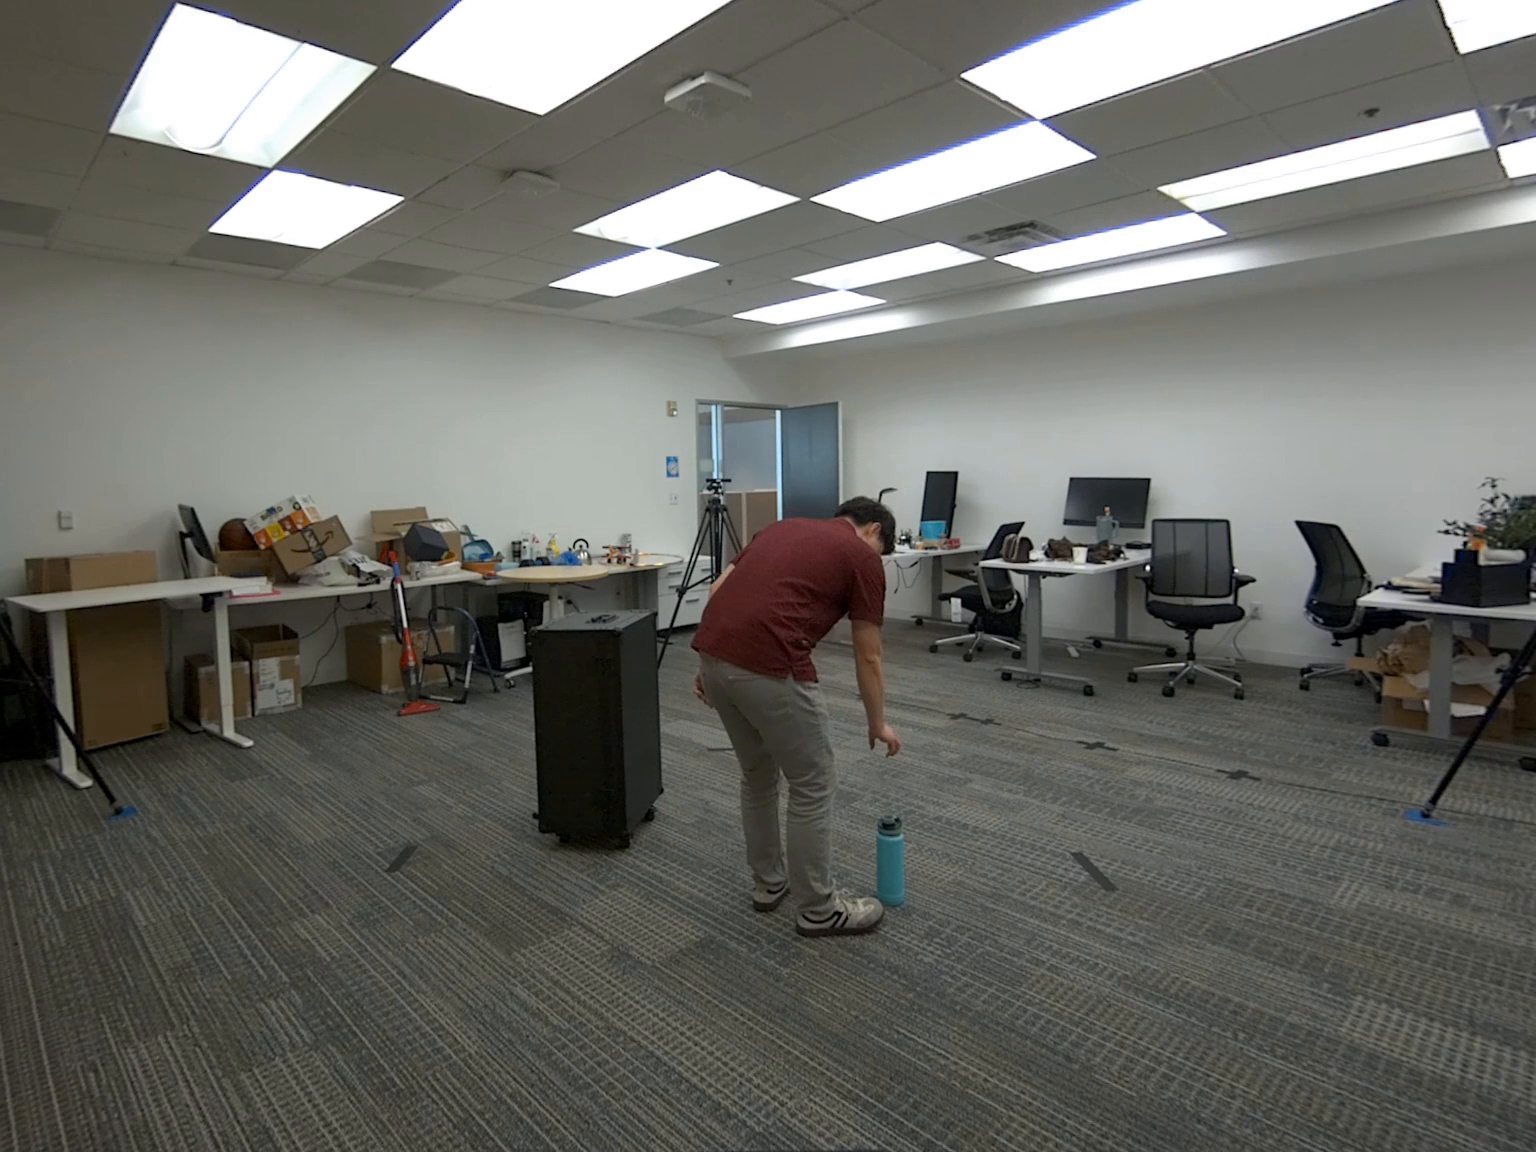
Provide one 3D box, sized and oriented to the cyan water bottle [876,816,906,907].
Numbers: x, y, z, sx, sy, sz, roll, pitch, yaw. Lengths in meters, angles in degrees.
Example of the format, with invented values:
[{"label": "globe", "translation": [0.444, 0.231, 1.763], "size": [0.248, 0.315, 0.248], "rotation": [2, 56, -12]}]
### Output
[{"label": "cyan water bottle", "translation": [0.398, 0.922, 2.822], "size": [0.092, 0.283, 0.092], "rotation": [-4, 2, -1]}]
